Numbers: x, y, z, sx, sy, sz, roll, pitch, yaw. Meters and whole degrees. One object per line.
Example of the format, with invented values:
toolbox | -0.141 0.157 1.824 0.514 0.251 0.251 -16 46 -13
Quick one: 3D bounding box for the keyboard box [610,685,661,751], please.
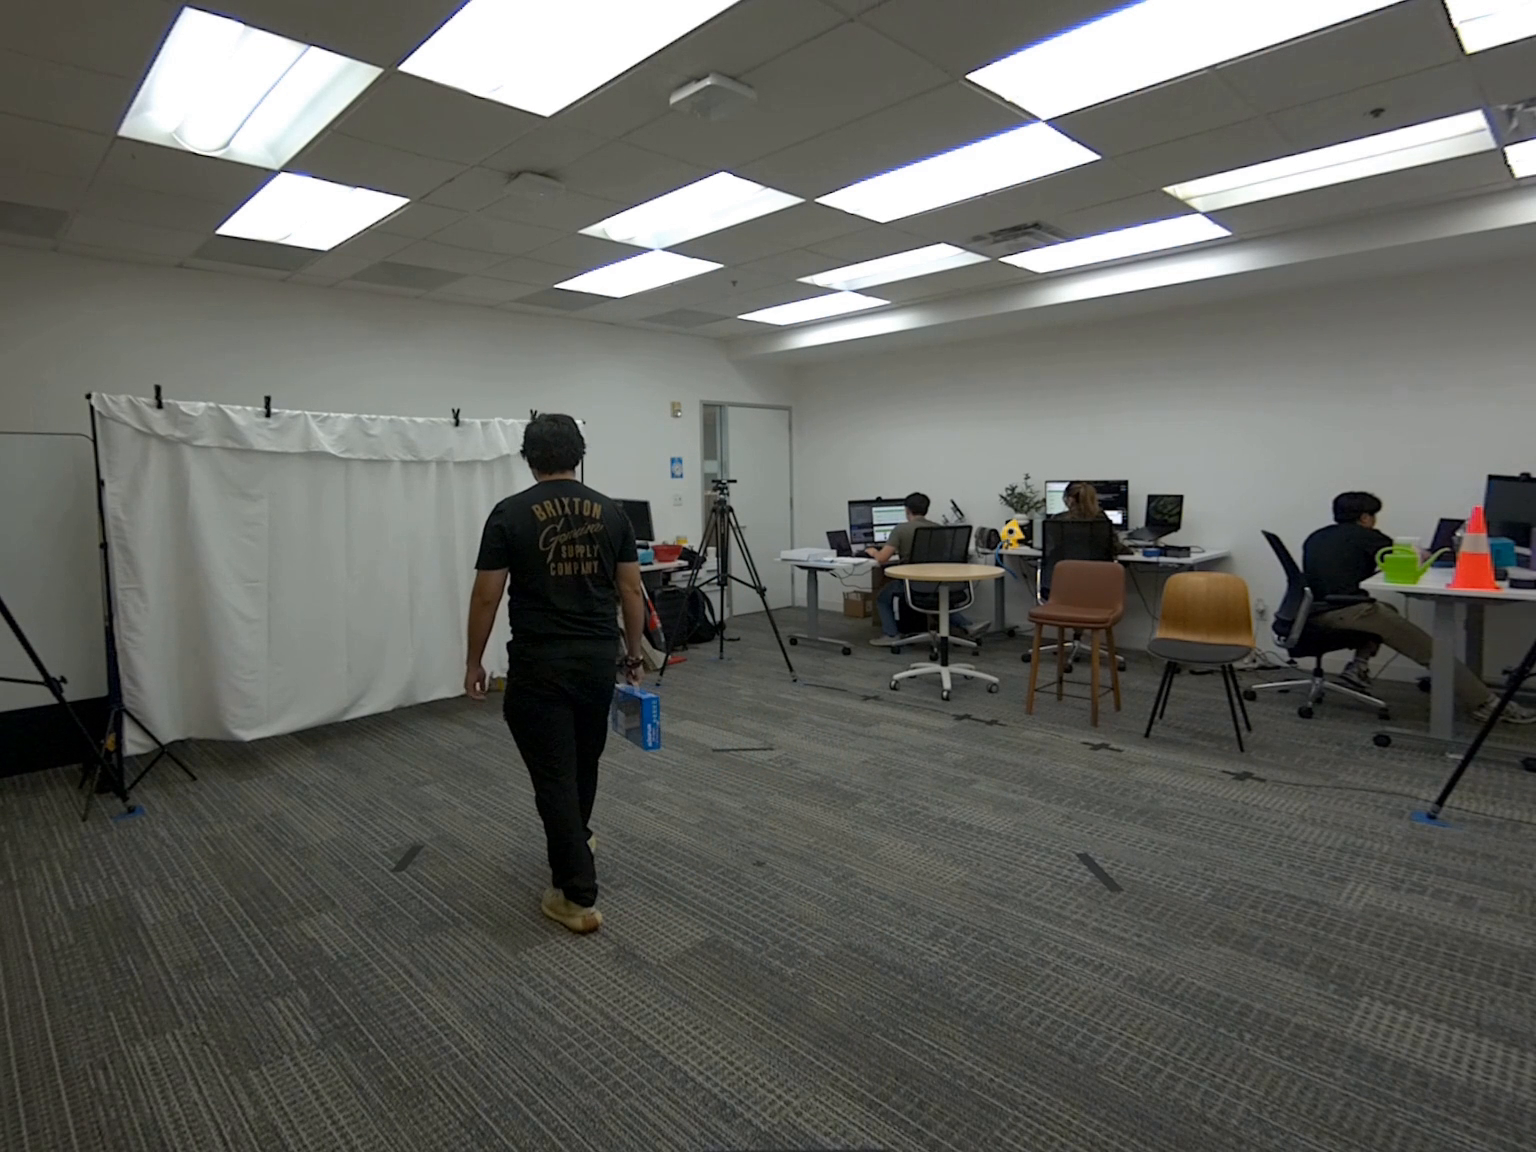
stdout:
keyboard box | -0.470 0.488 3.014 0.058 0.176 0.445 -1 -1 -24
